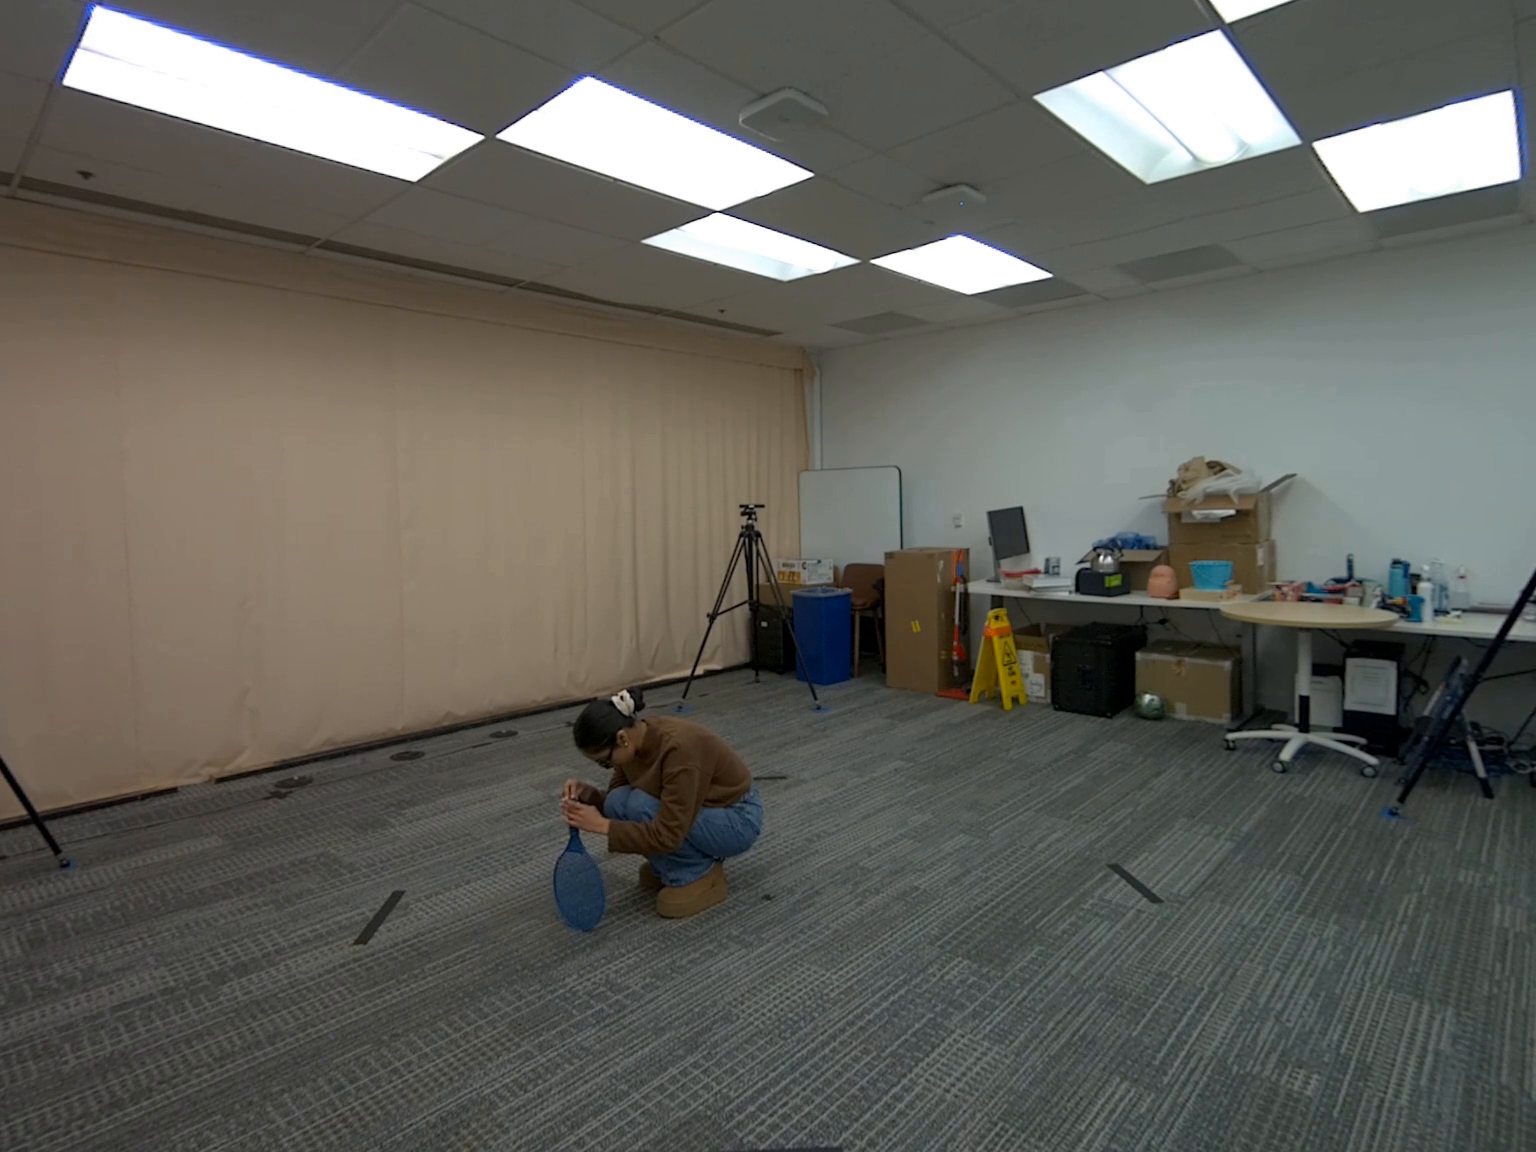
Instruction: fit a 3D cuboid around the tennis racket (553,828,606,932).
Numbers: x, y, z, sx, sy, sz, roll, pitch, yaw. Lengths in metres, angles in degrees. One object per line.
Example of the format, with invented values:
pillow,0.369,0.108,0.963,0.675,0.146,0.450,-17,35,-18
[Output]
tennis racket,-0.643,0.963,2.794,0.218,0.434,0.031,-13,-5,28
